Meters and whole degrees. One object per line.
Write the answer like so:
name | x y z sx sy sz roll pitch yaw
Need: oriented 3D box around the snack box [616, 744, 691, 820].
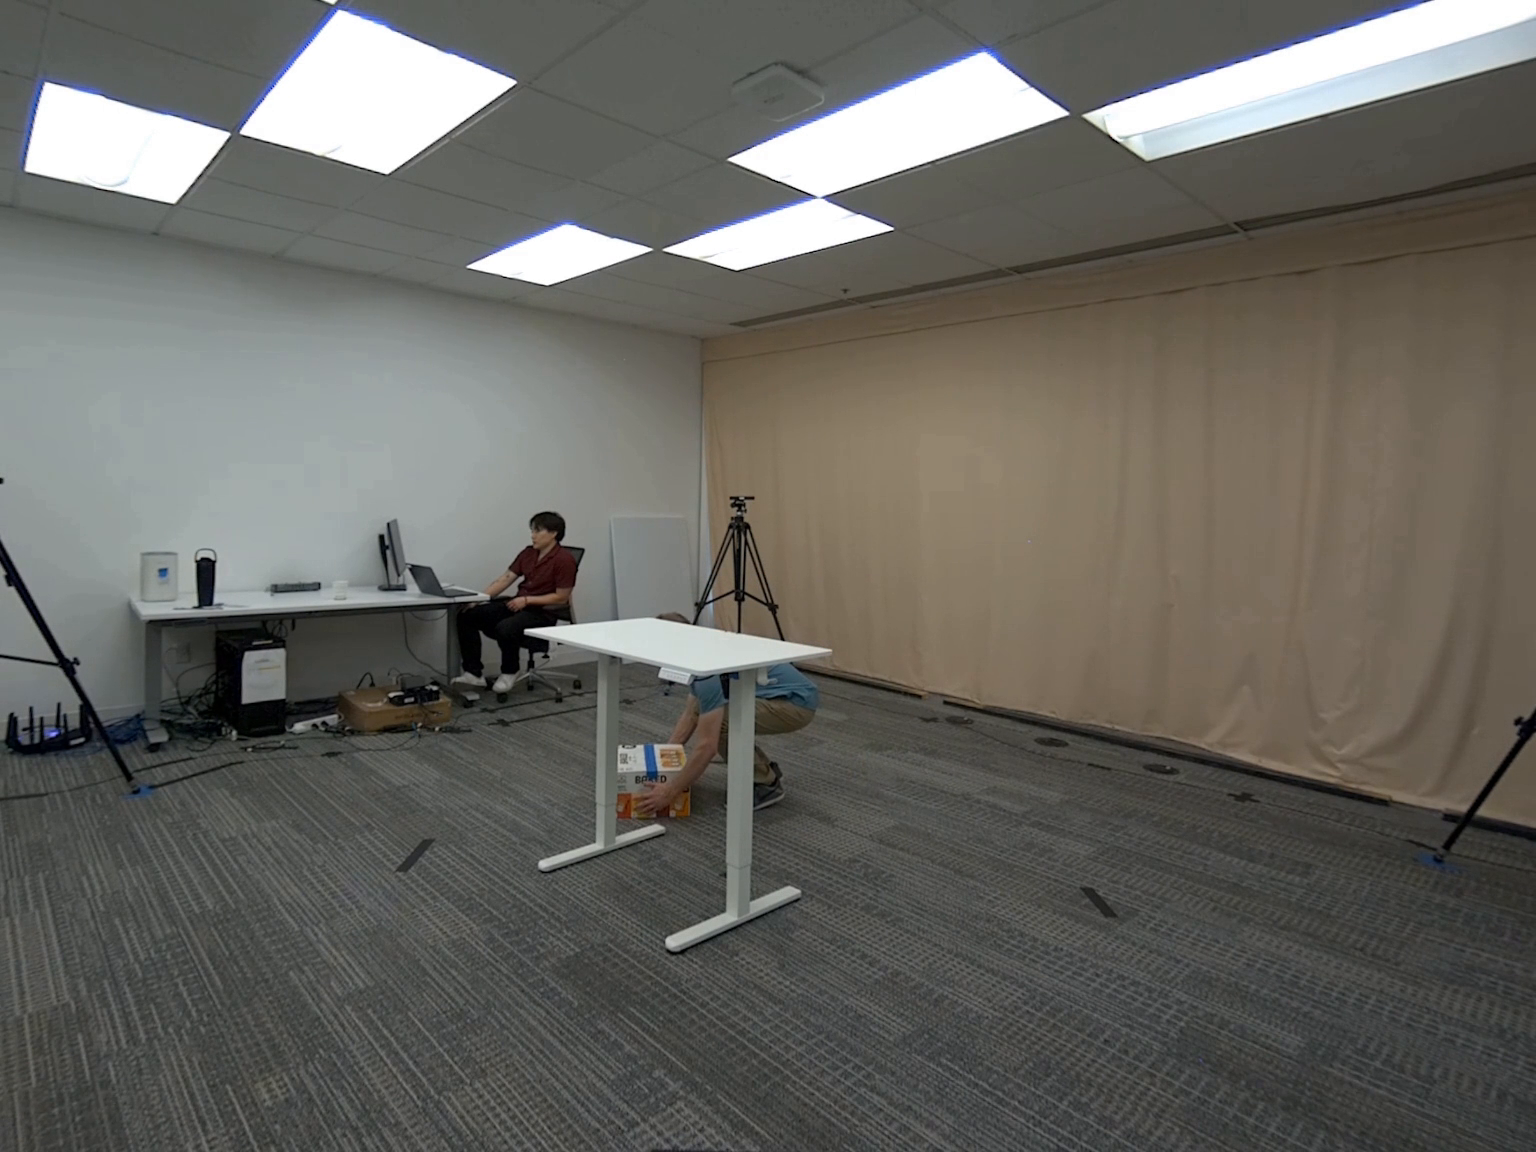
snack box | -0.552 0.927 3.841 0.338 0.205 0.409 1 5 -10
